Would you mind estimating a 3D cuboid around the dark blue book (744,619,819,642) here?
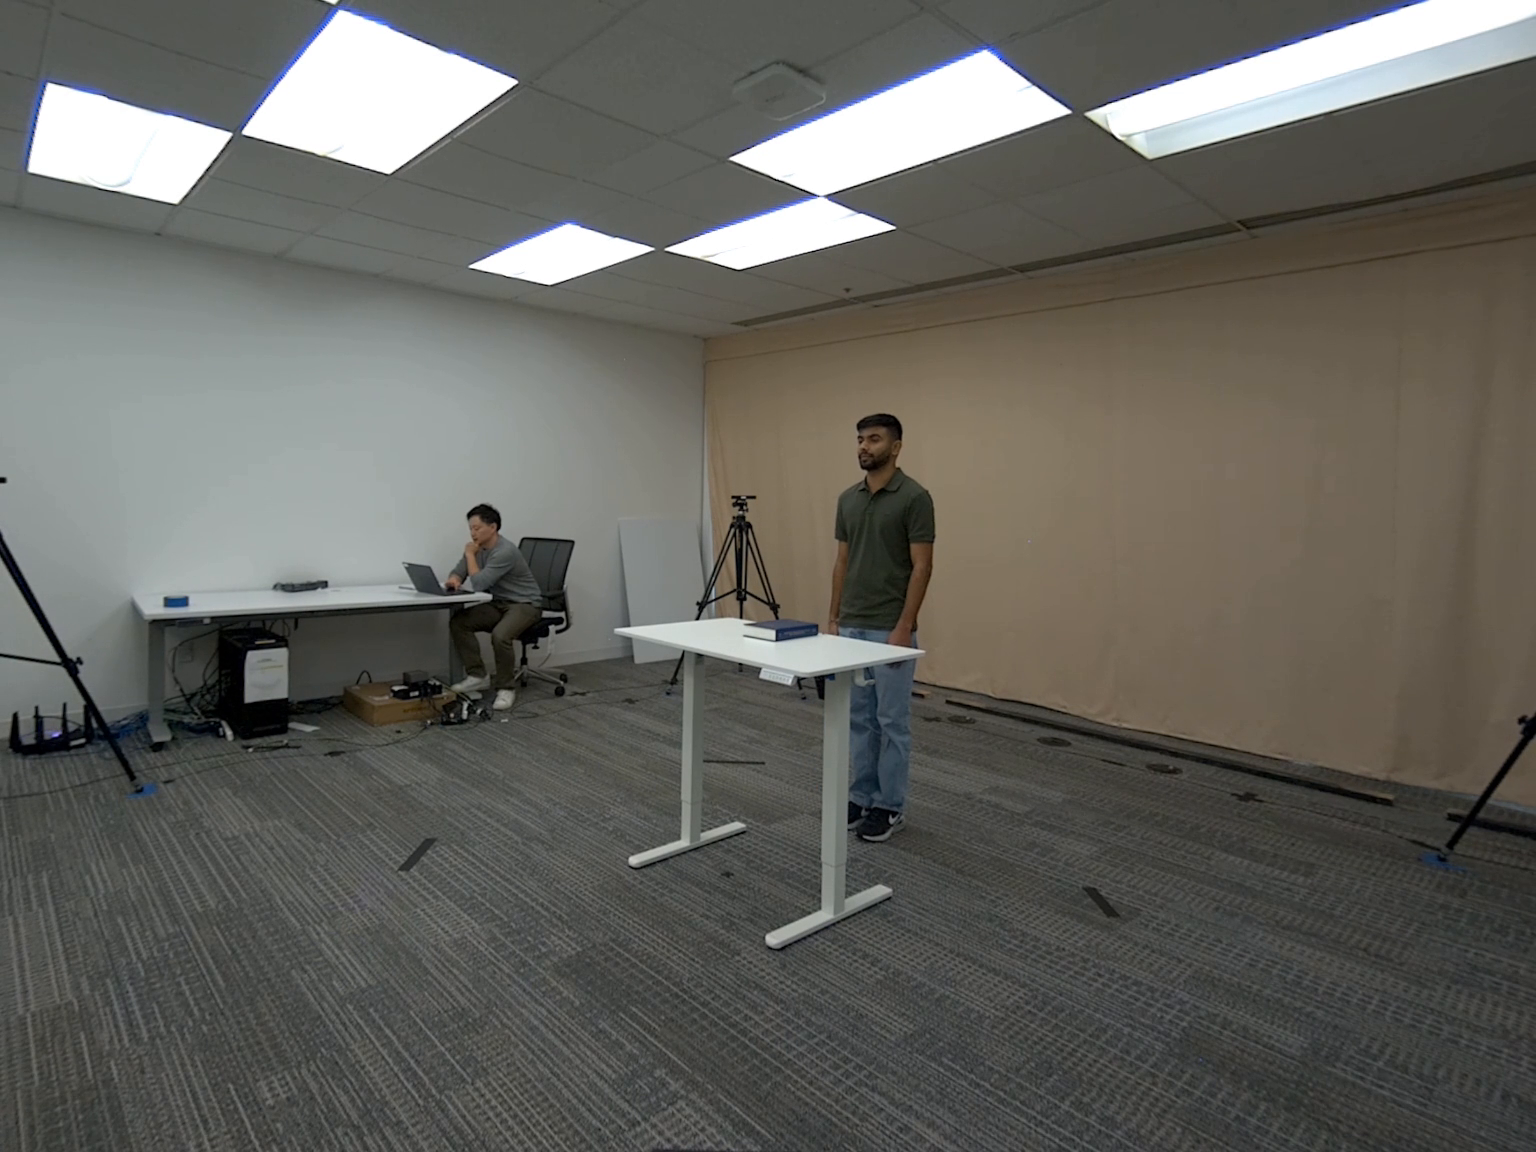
[{"bbox_3d":[0.044,0.202,3.130,0.167,0.045,0.239,6,7,43],"label":"dark blue book"}]
